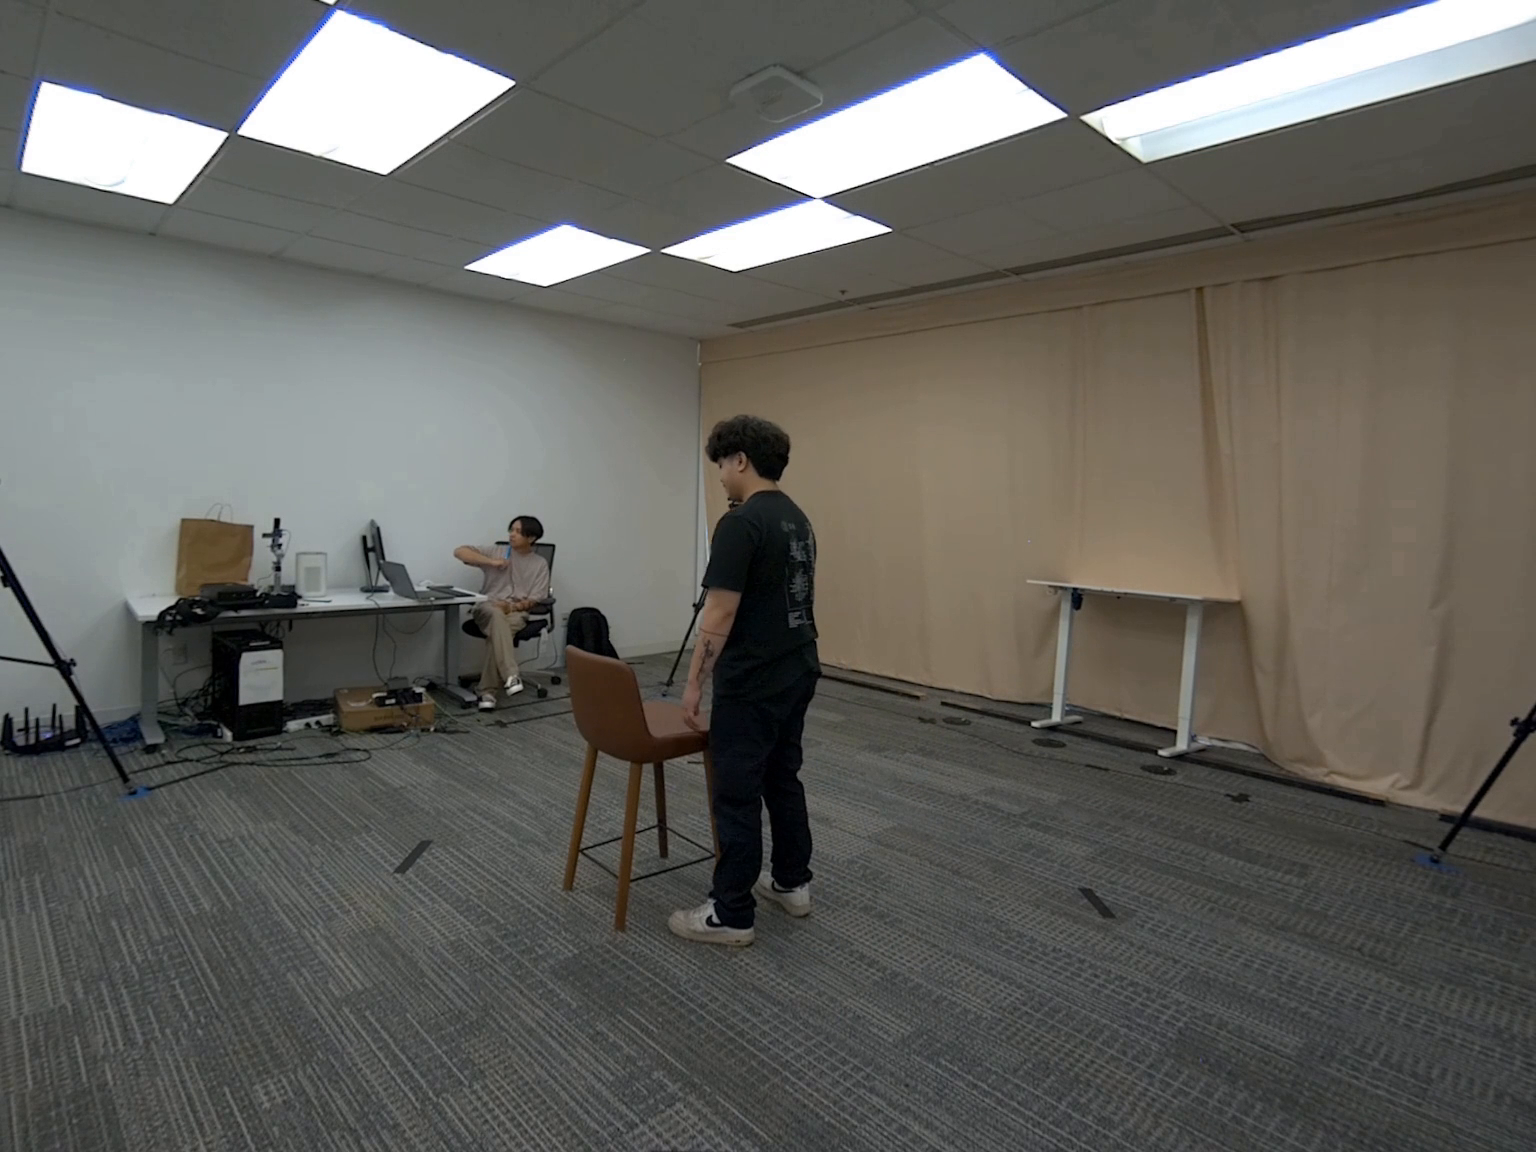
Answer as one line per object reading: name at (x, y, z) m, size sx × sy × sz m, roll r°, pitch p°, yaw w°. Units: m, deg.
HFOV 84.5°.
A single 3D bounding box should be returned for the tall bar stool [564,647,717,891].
tall bar stool at (-0.438, 0.679, 2.946) m, size 0.457 × 0.887 × 0.468 m, roll -5°, pitch 6°, yaw -40°
